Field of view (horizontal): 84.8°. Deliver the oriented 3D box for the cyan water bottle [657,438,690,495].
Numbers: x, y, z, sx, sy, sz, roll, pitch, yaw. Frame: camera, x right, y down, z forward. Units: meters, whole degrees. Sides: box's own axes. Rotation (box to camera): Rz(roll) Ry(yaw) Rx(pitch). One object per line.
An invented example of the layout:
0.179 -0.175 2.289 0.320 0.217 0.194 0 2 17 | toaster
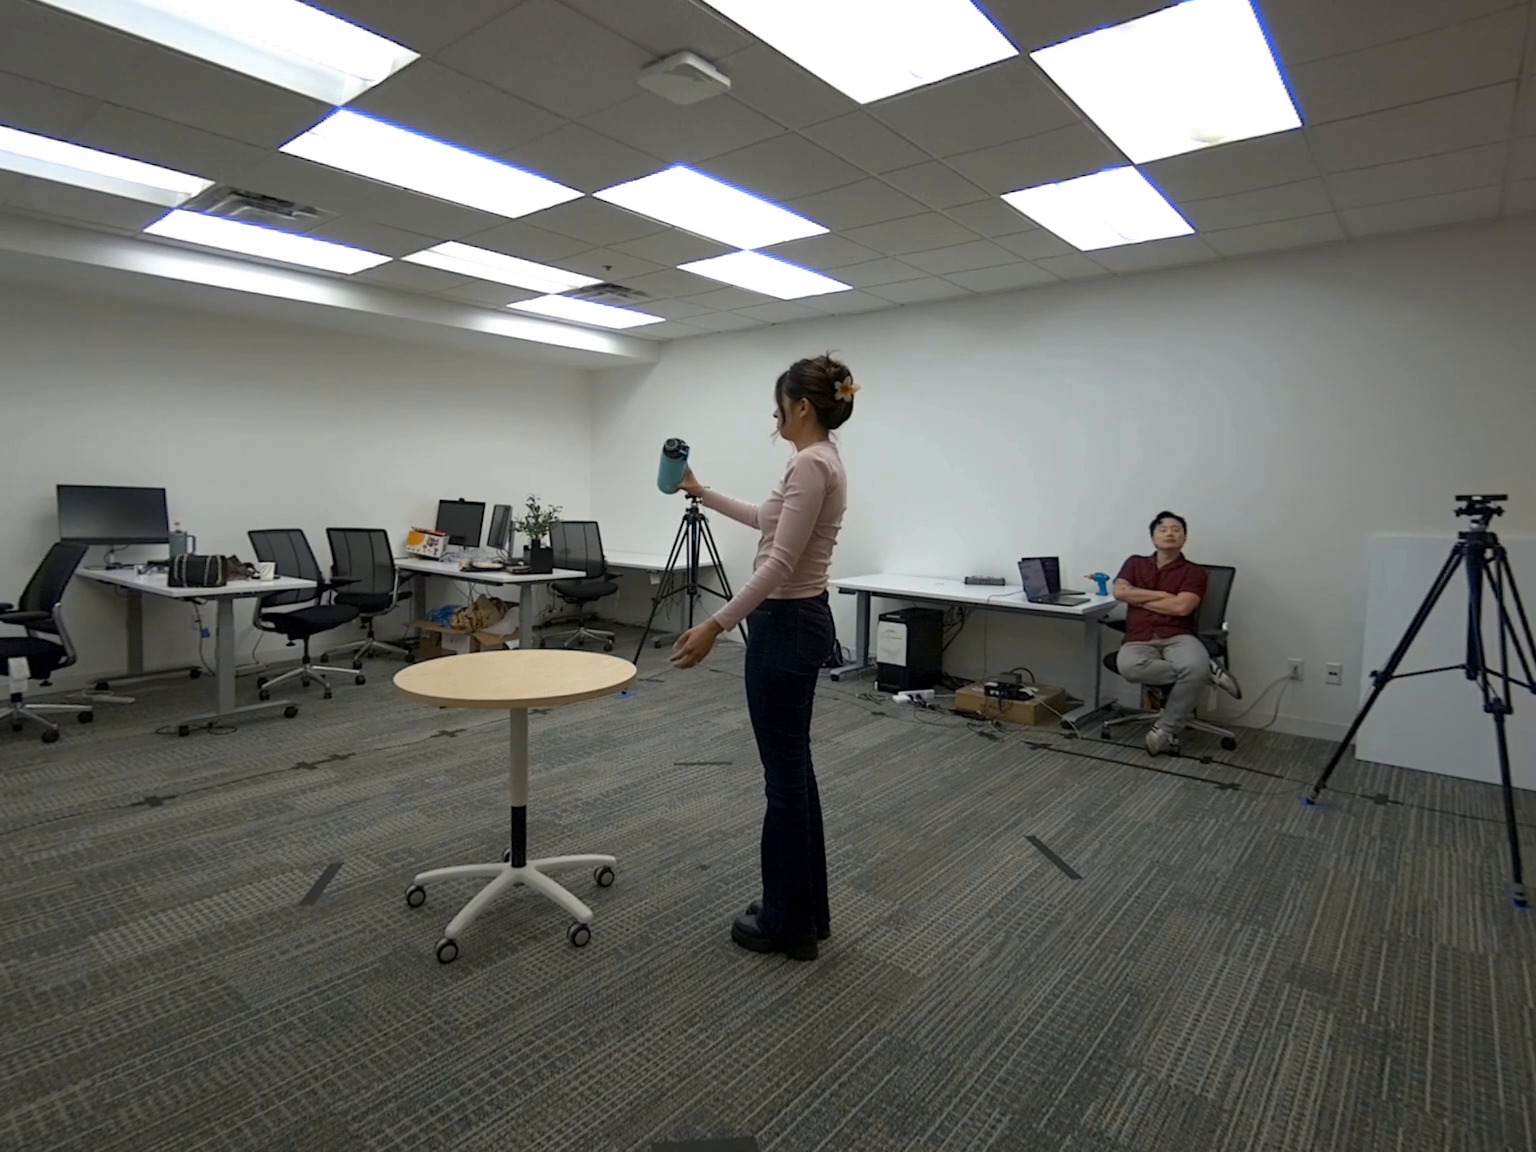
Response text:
-0.330 -0.377 2.876 0.091 0.094 0.280 1 -21 -10 | cyan water bottle
